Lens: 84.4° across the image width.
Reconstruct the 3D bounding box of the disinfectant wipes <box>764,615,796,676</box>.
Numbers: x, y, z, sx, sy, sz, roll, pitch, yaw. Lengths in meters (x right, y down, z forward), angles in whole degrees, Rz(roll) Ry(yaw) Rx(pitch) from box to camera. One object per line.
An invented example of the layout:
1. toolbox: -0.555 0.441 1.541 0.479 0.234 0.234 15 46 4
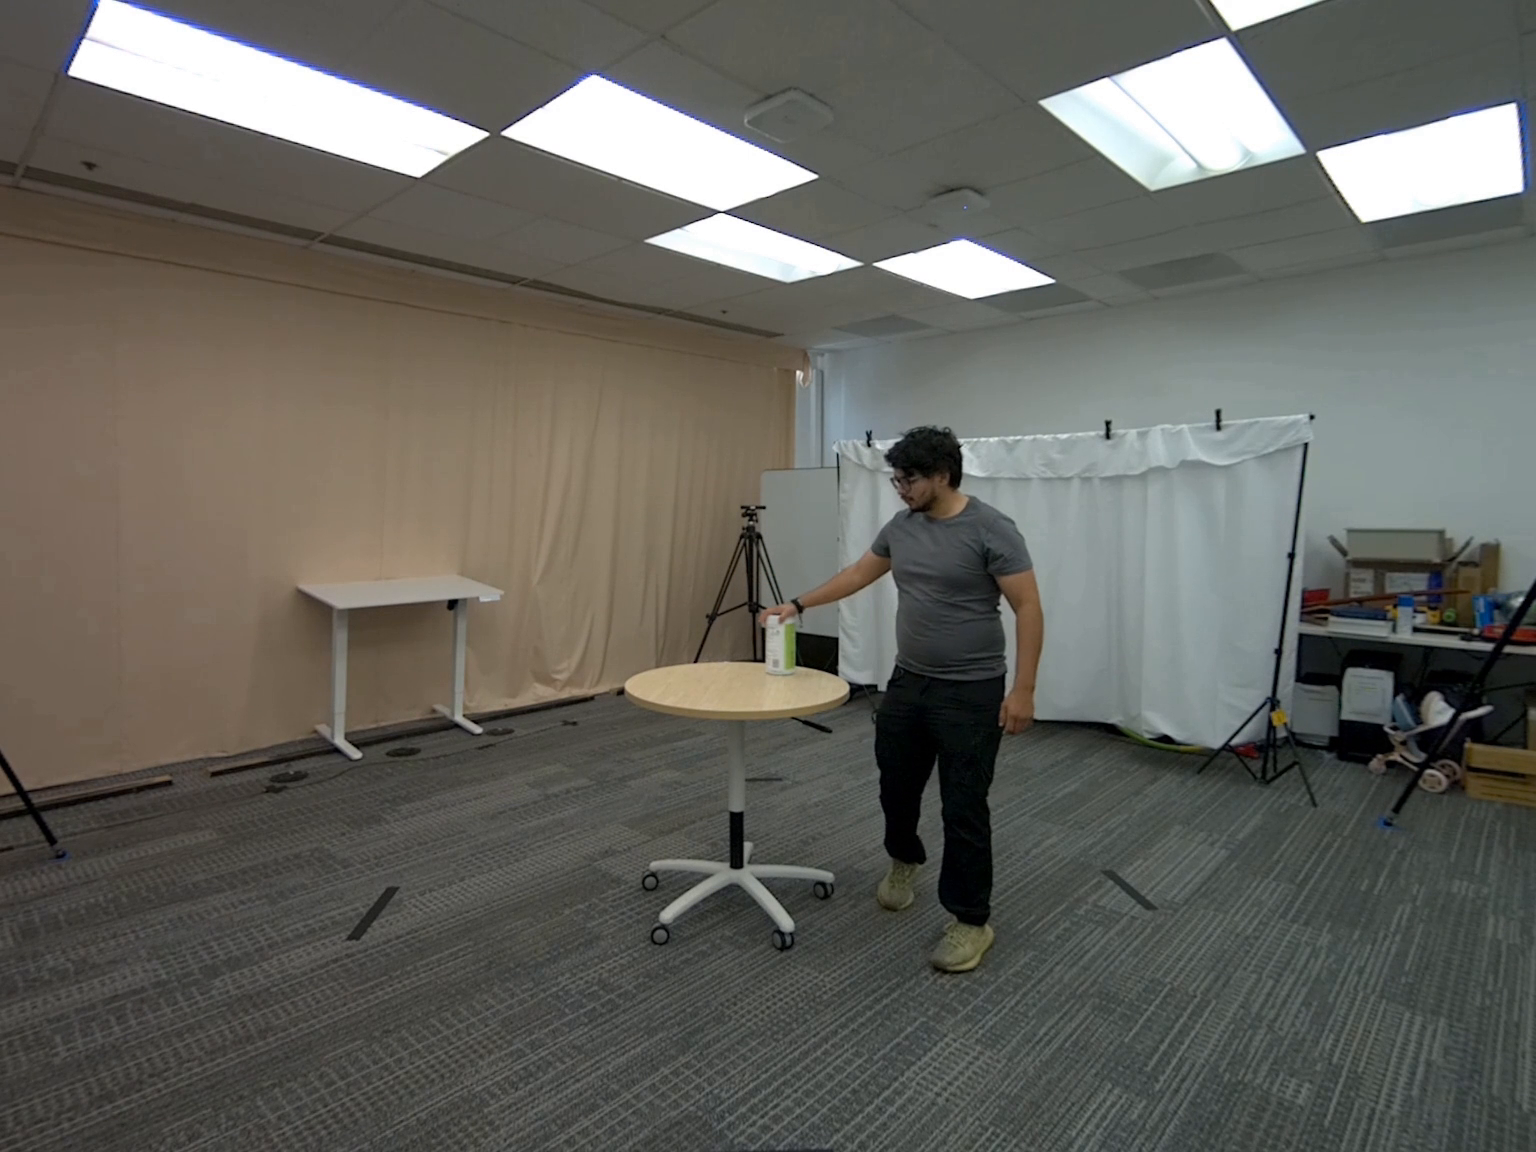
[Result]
1. disinfectant wipes: 0.053 0.248 3.063 0.117 0.217 0.118 2 3 -2
